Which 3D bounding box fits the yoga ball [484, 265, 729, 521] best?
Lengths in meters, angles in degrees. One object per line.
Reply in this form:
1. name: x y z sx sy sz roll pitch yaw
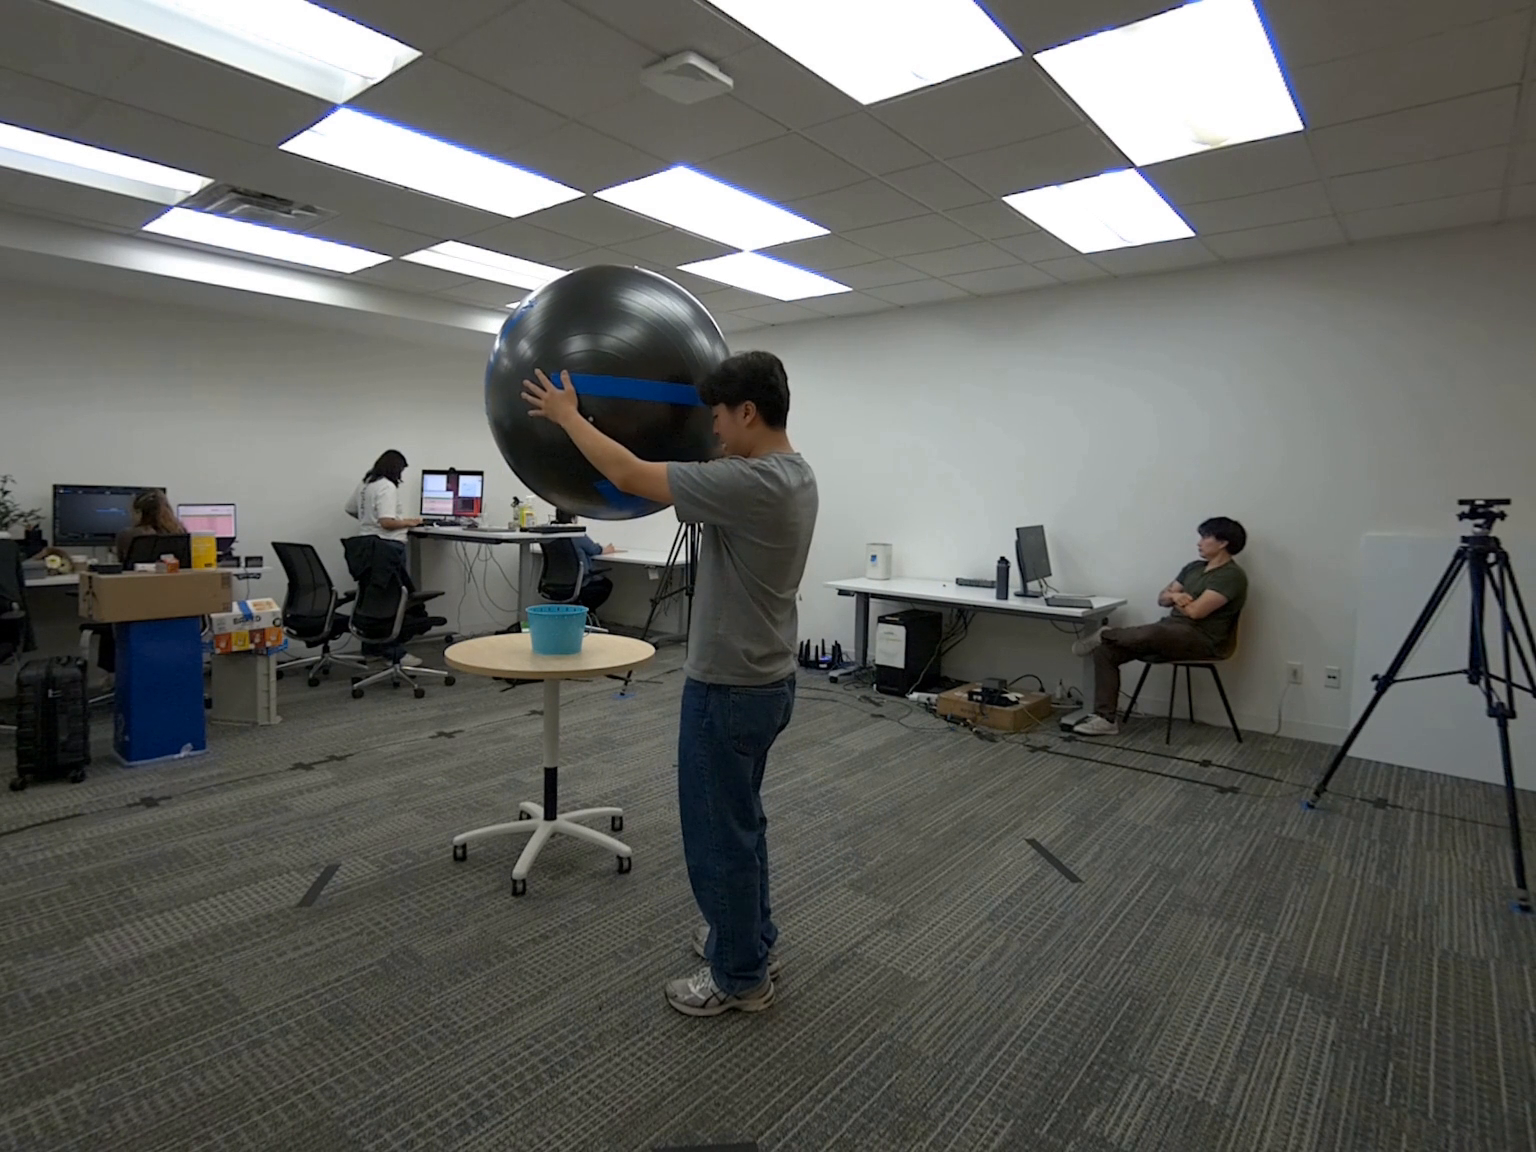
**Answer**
1. yoga ball: -0.489 -0.543 2.588 0.757 0.755 0.762 1 4 -2
